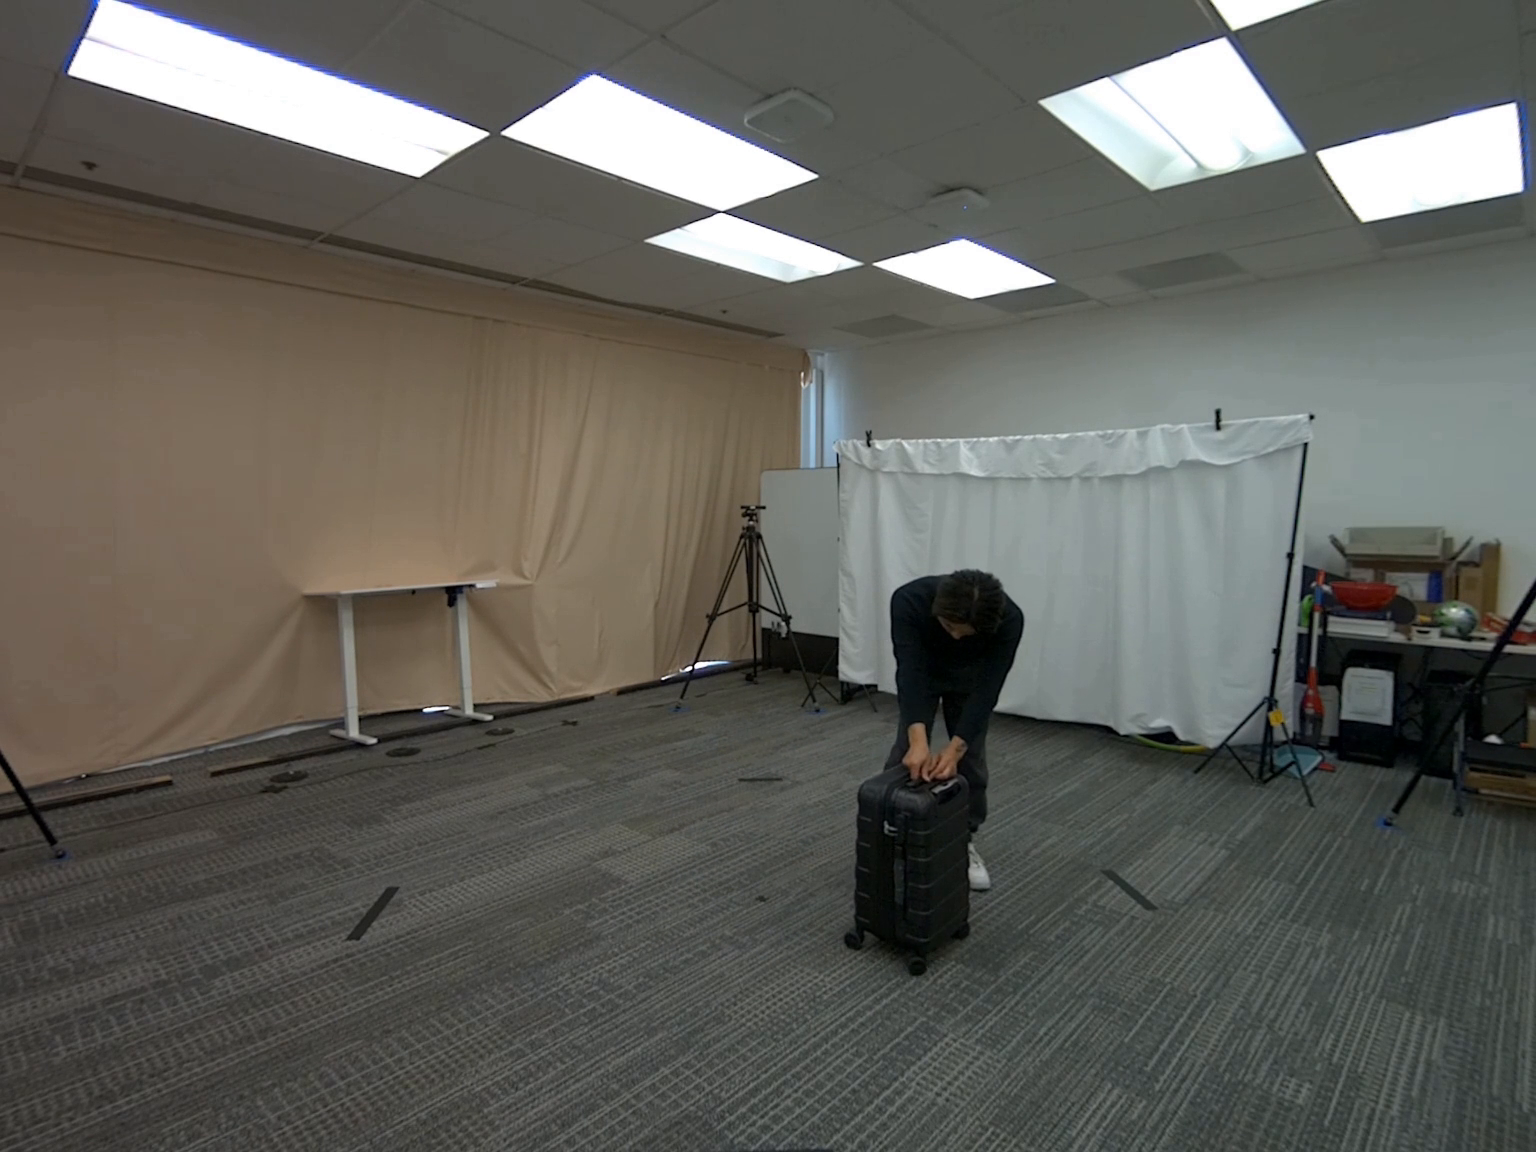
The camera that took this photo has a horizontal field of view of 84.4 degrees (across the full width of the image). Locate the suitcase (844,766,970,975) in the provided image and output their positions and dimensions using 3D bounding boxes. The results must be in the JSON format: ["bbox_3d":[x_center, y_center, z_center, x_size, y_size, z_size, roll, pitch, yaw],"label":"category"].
[{"bbox_3d":[0.461,0.895,2.670,0.256,0.548,0.364,3,4,39],"label":"suitcase"}]
